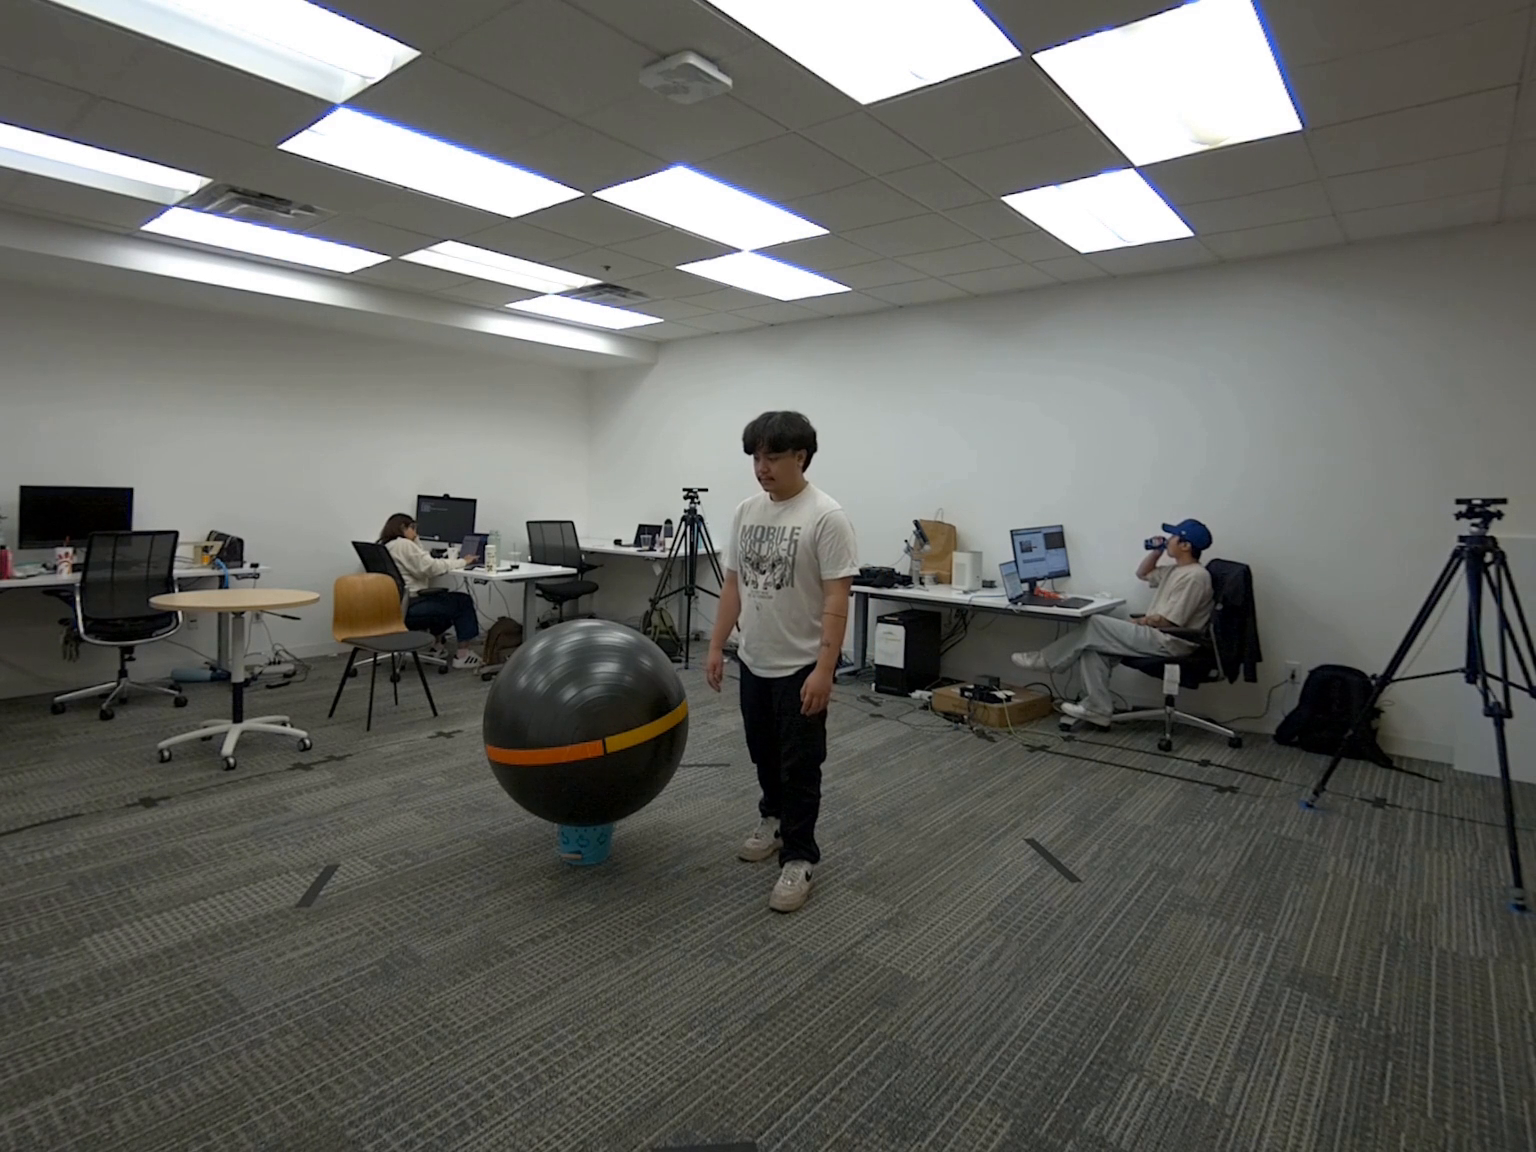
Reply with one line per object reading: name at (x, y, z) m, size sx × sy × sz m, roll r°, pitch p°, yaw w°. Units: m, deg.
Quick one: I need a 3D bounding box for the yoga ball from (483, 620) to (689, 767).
yoga ball at (-0.692, 0.544, 3.193) m, size 0.757 × 0.755 × 0.762 m, roll 1°, pitch 4°, yaw -2°
